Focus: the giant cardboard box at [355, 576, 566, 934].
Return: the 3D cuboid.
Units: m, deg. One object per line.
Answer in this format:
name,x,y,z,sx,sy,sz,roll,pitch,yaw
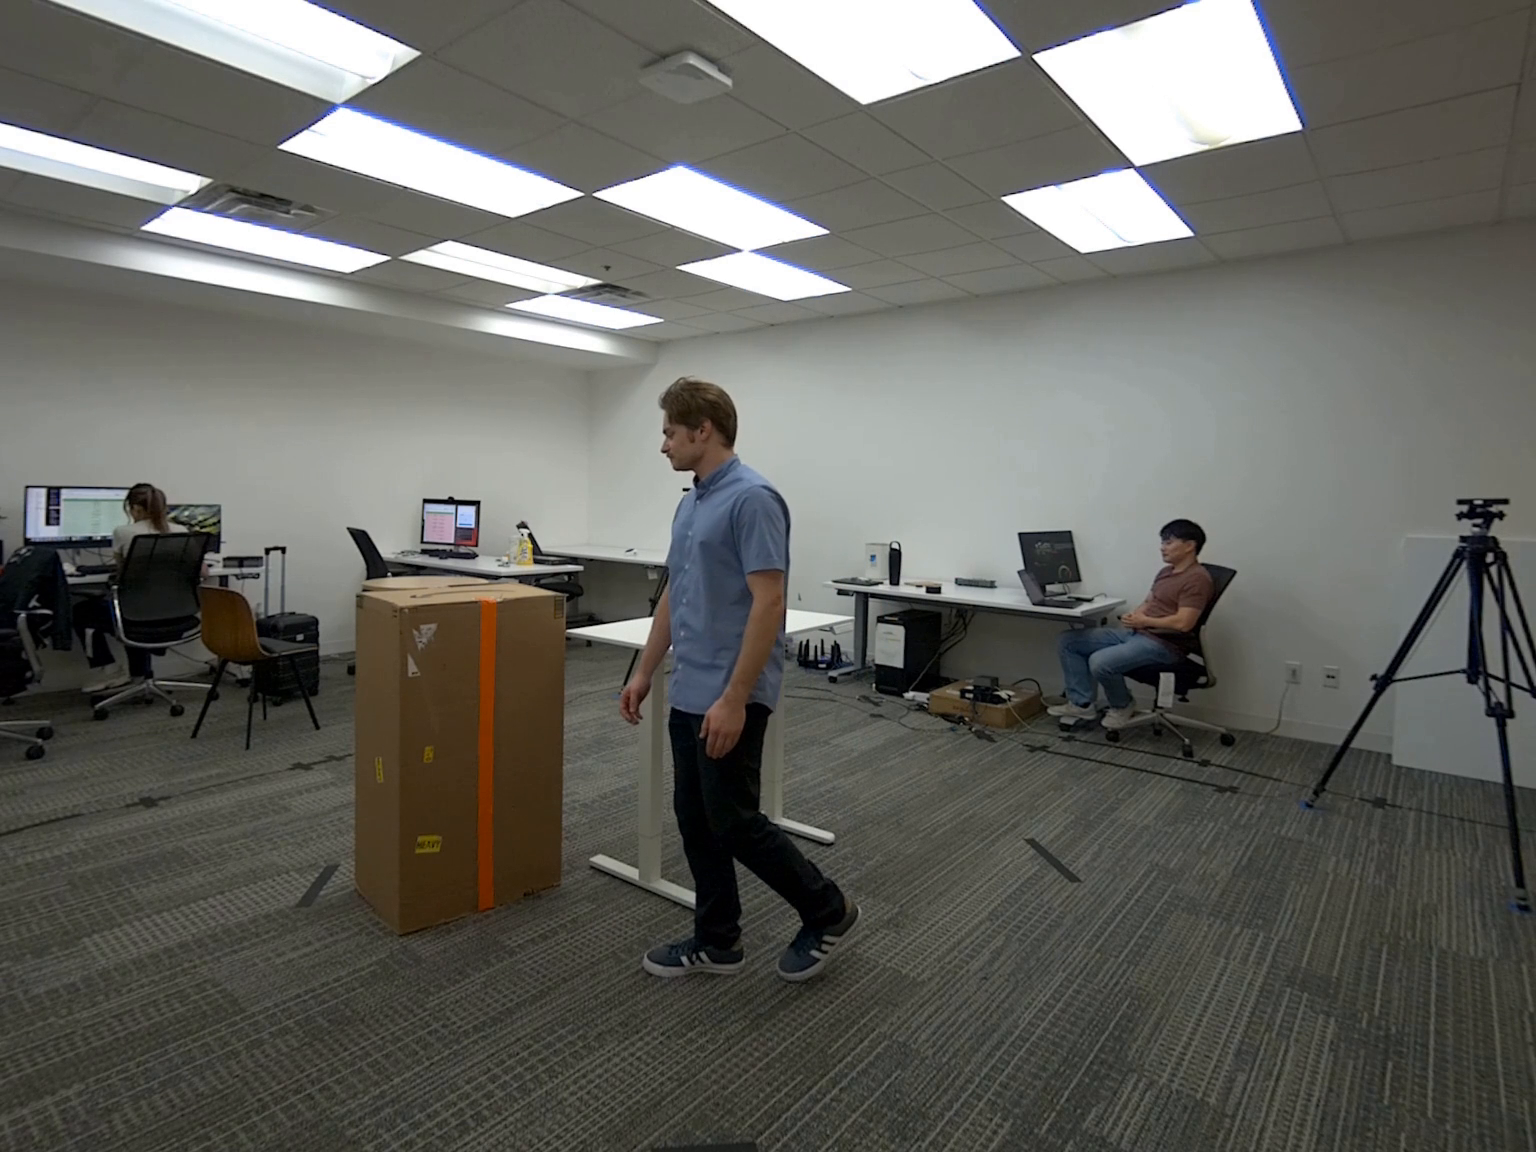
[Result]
giant cardboard box,-1.068,0.565,2.923,0.560,1.023,0.441,-2,4,-43
